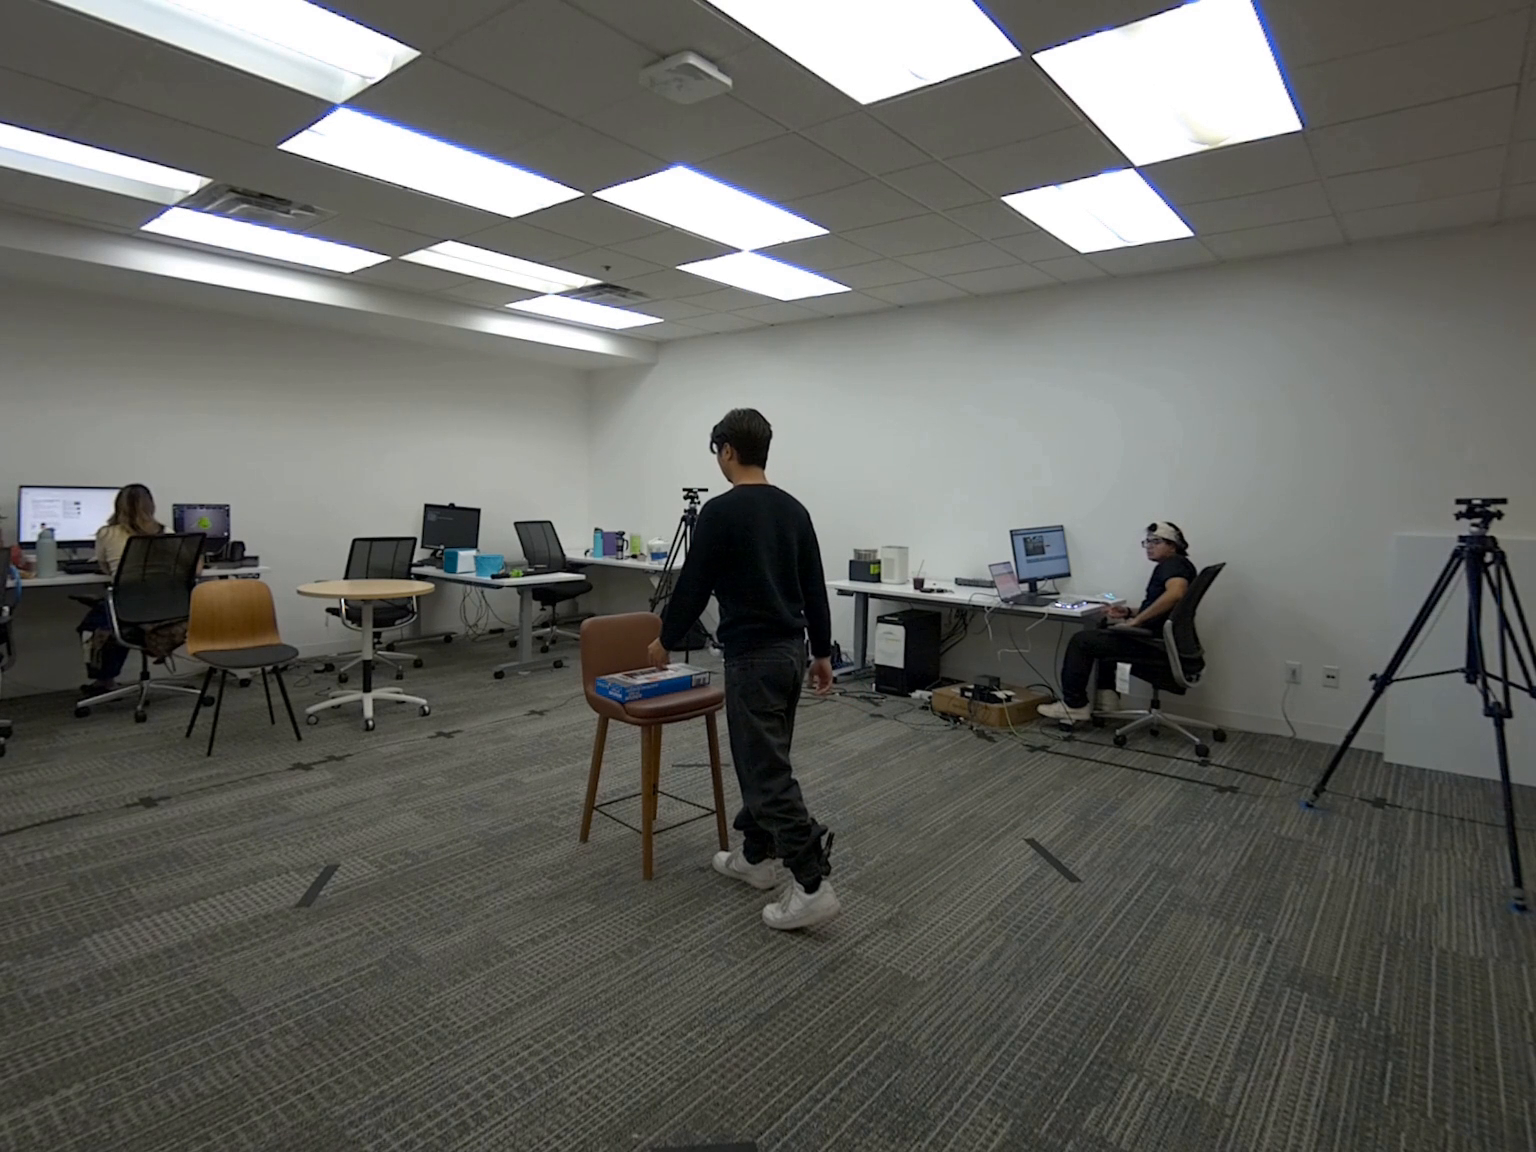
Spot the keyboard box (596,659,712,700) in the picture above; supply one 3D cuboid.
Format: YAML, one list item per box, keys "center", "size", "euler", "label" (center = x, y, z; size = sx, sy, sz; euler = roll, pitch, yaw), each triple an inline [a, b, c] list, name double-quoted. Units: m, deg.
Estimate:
- center: [-0.442, 0.396, 3.279]
  size: [0.182, 0.059, 0.424]
  euler: [9, 9, 42]
  label: "keyboard box"
